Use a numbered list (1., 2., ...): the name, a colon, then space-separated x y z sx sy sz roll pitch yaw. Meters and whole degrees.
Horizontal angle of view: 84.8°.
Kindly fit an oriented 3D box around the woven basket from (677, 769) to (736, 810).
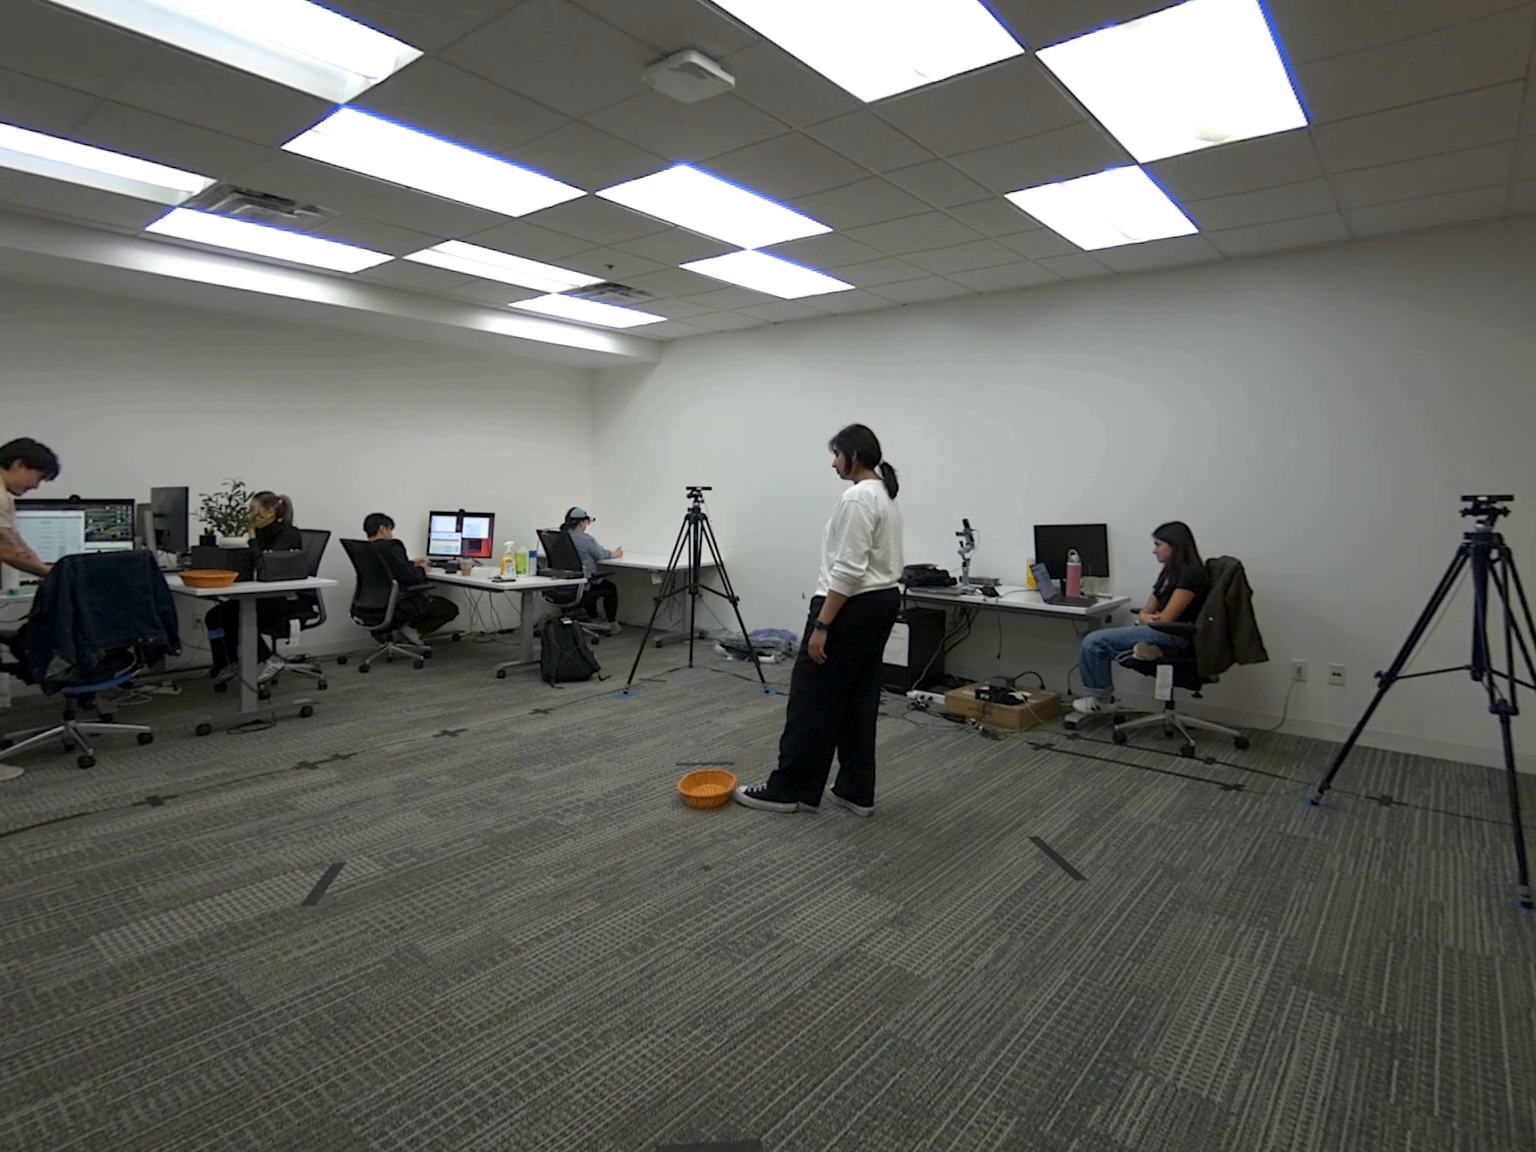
1. woven basket: -0.278 0.956 3.823 0.255 0.073 0.348 1 6 9
